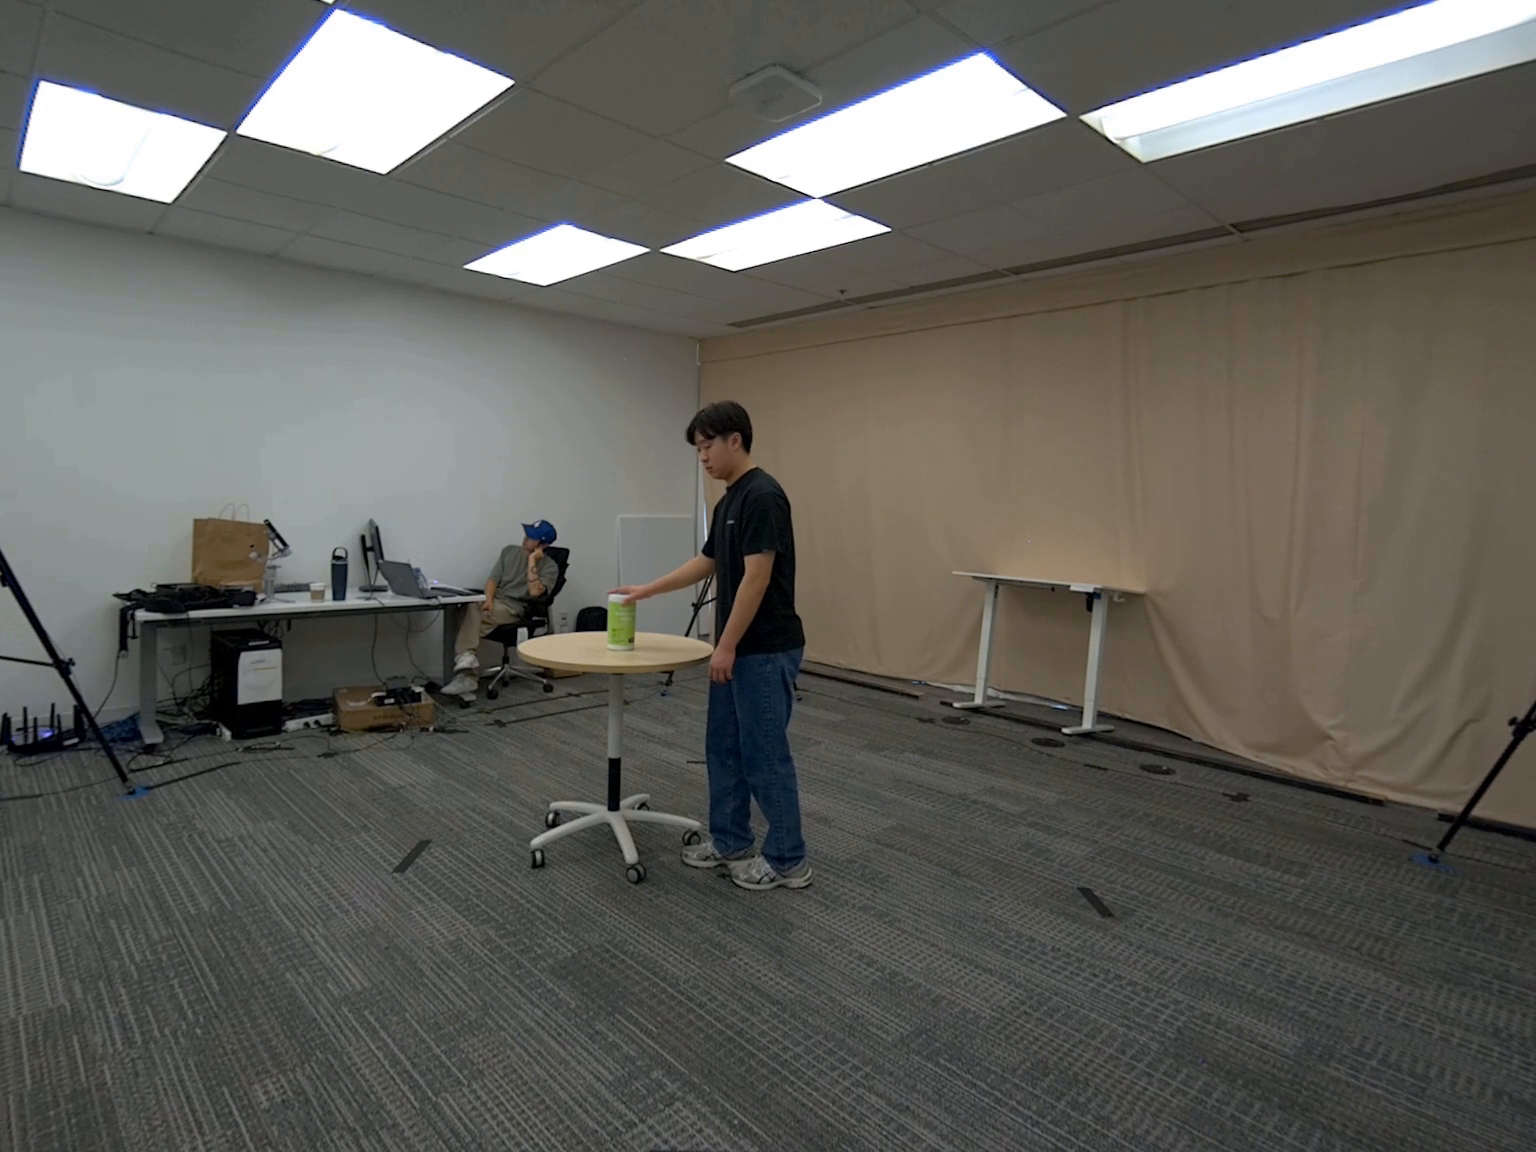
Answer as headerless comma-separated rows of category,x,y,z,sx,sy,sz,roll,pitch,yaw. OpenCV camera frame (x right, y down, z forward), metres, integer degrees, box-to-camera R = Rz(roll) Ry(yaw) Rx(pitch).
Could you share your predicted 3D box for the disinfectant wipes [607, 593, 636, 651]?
disinfectant wipes,-0.573,0.180,3.284,0.117,0.216,0.118,4,6,-2
